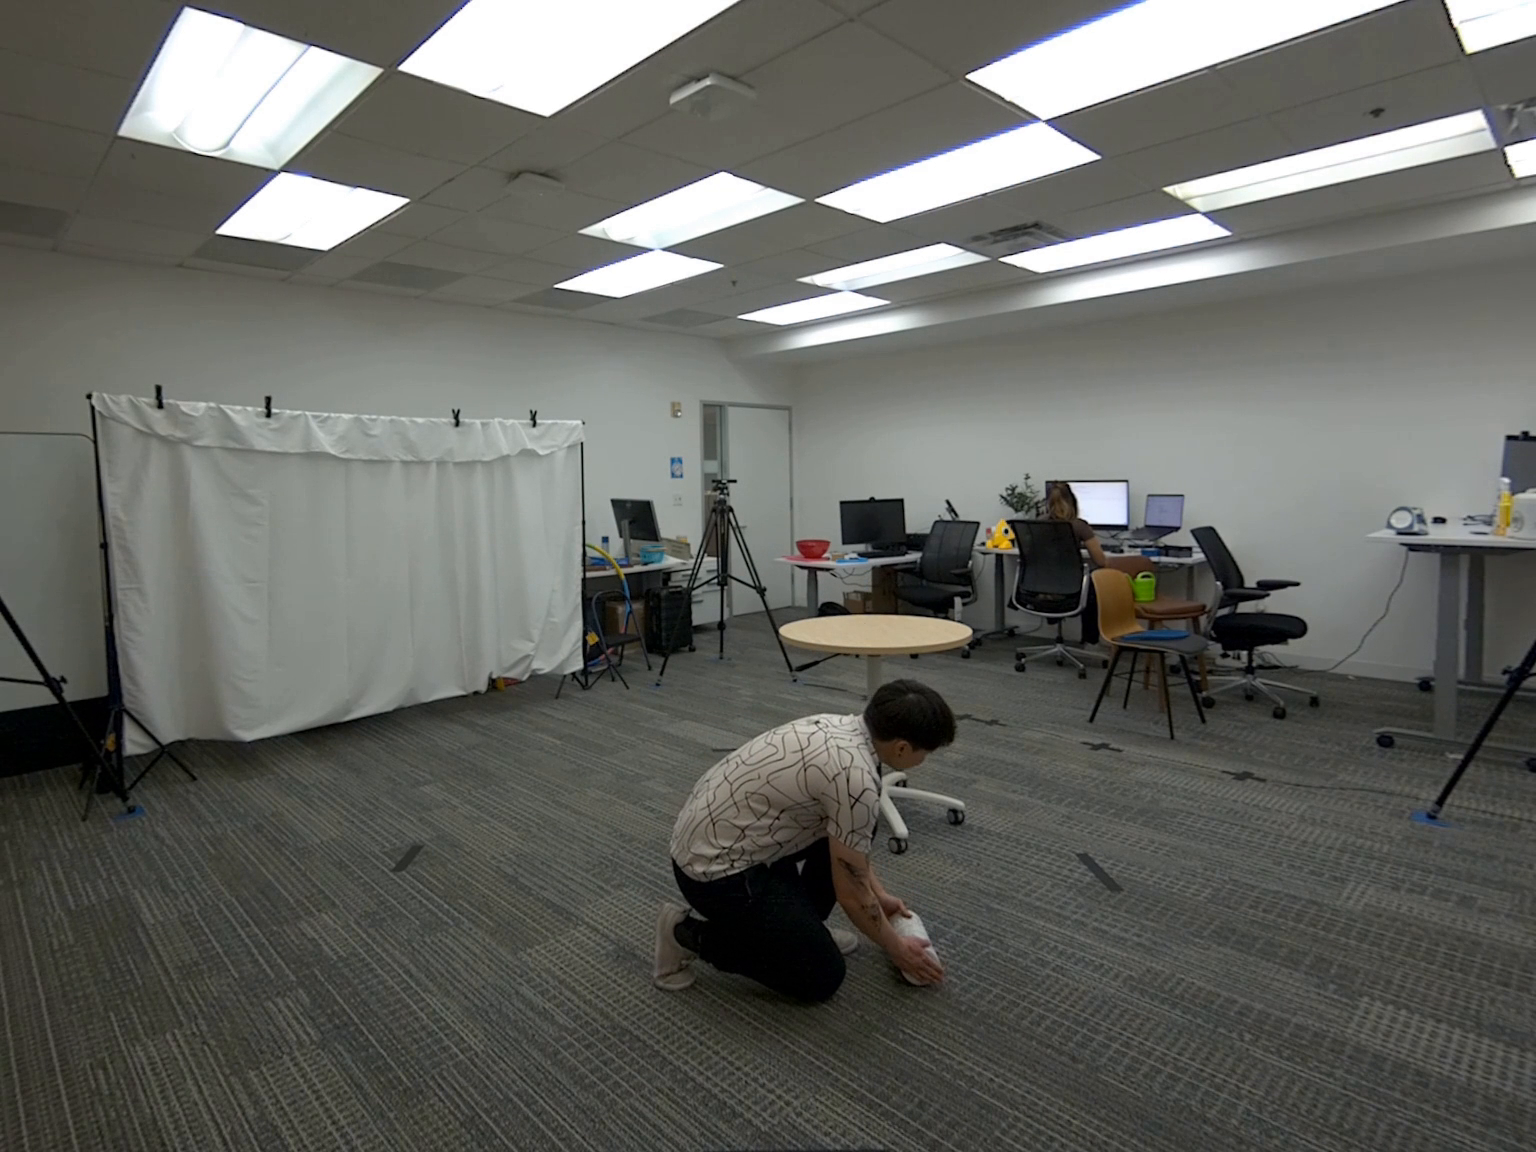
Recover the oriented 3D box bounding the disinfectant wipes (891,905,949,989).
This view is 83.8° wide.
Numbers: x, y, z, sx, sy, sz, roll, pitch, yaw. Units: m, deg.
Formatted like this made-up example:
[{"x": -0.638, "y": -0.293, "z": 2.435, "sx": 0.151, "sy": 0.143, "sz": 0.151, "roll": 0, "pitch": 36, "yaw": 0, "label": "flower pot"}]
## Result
[{"x": 0.421, "y": 1.050, "z": 2.441, "sx": 0.117, "sy": 0.117, "sz": 0.219, "roll": -1, "pitch": 6, "yaw": -4, "label": "disinfectant wipes"}]
